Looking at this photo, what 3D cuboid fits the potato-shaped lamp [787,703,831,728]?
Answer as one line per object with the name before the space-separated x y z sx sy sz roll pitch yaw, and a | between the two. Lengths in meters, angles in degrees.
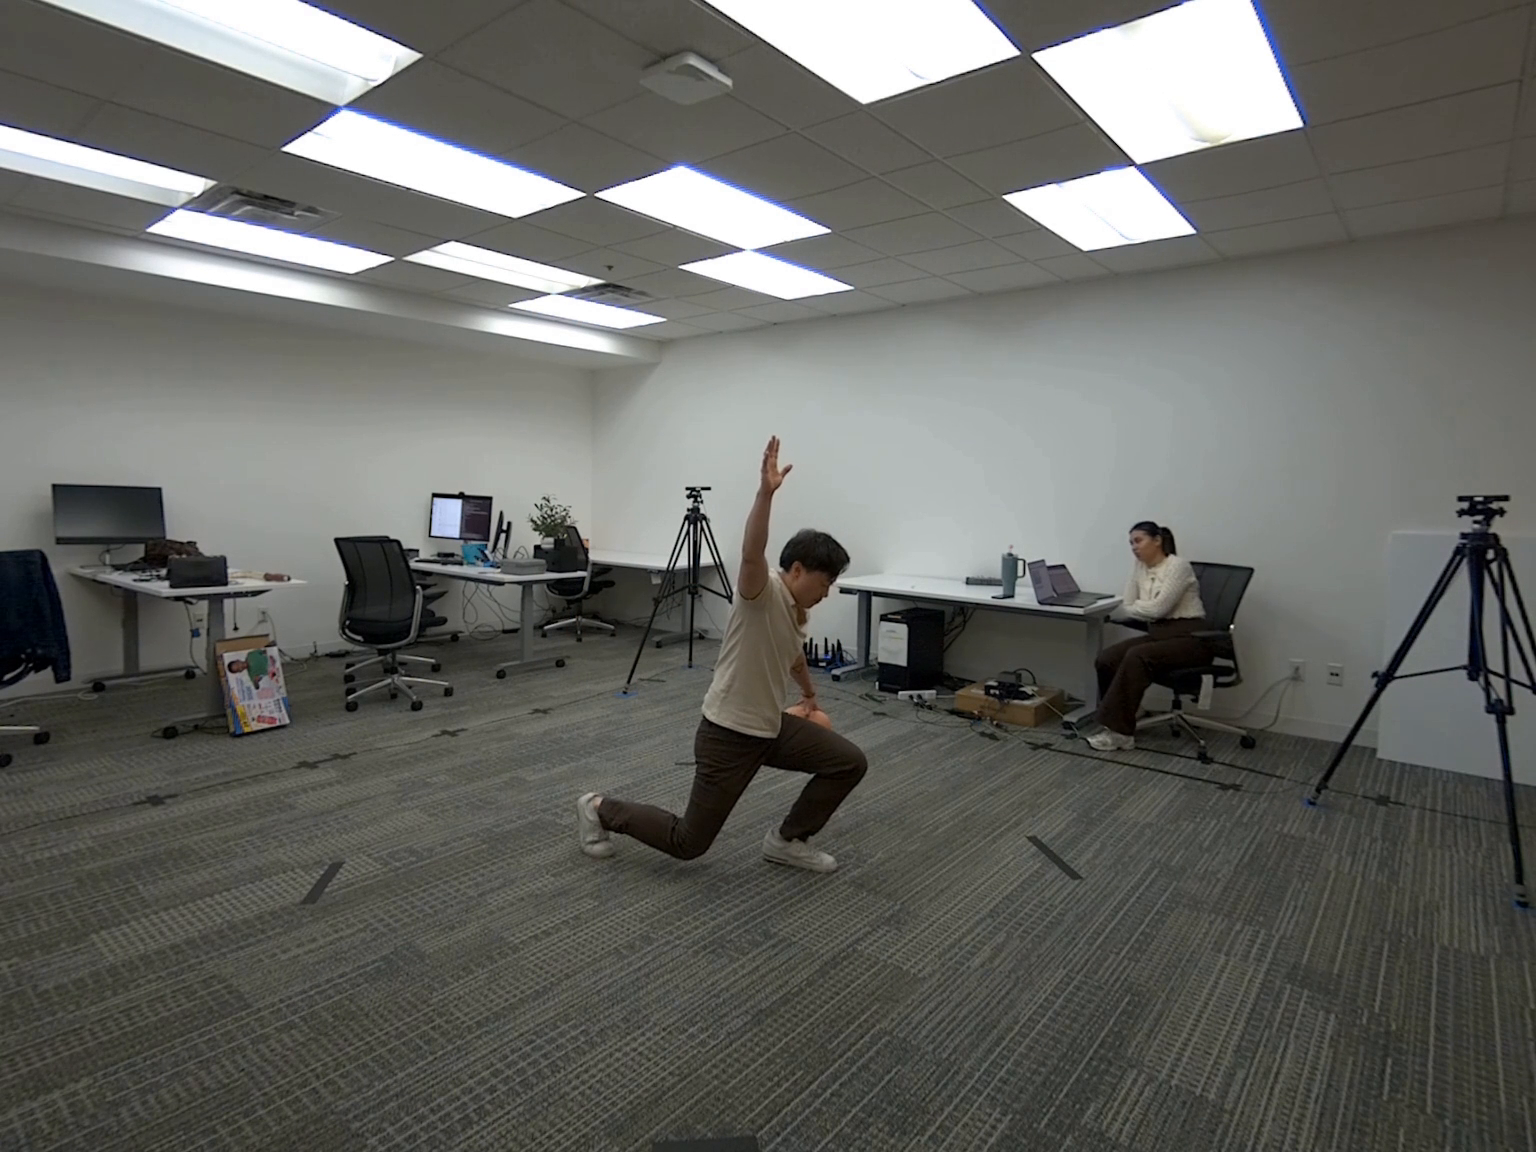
potato-shaped lamp | 0.153 0.631 3.592 0.200 0.174 0.160 -9 -13 13
